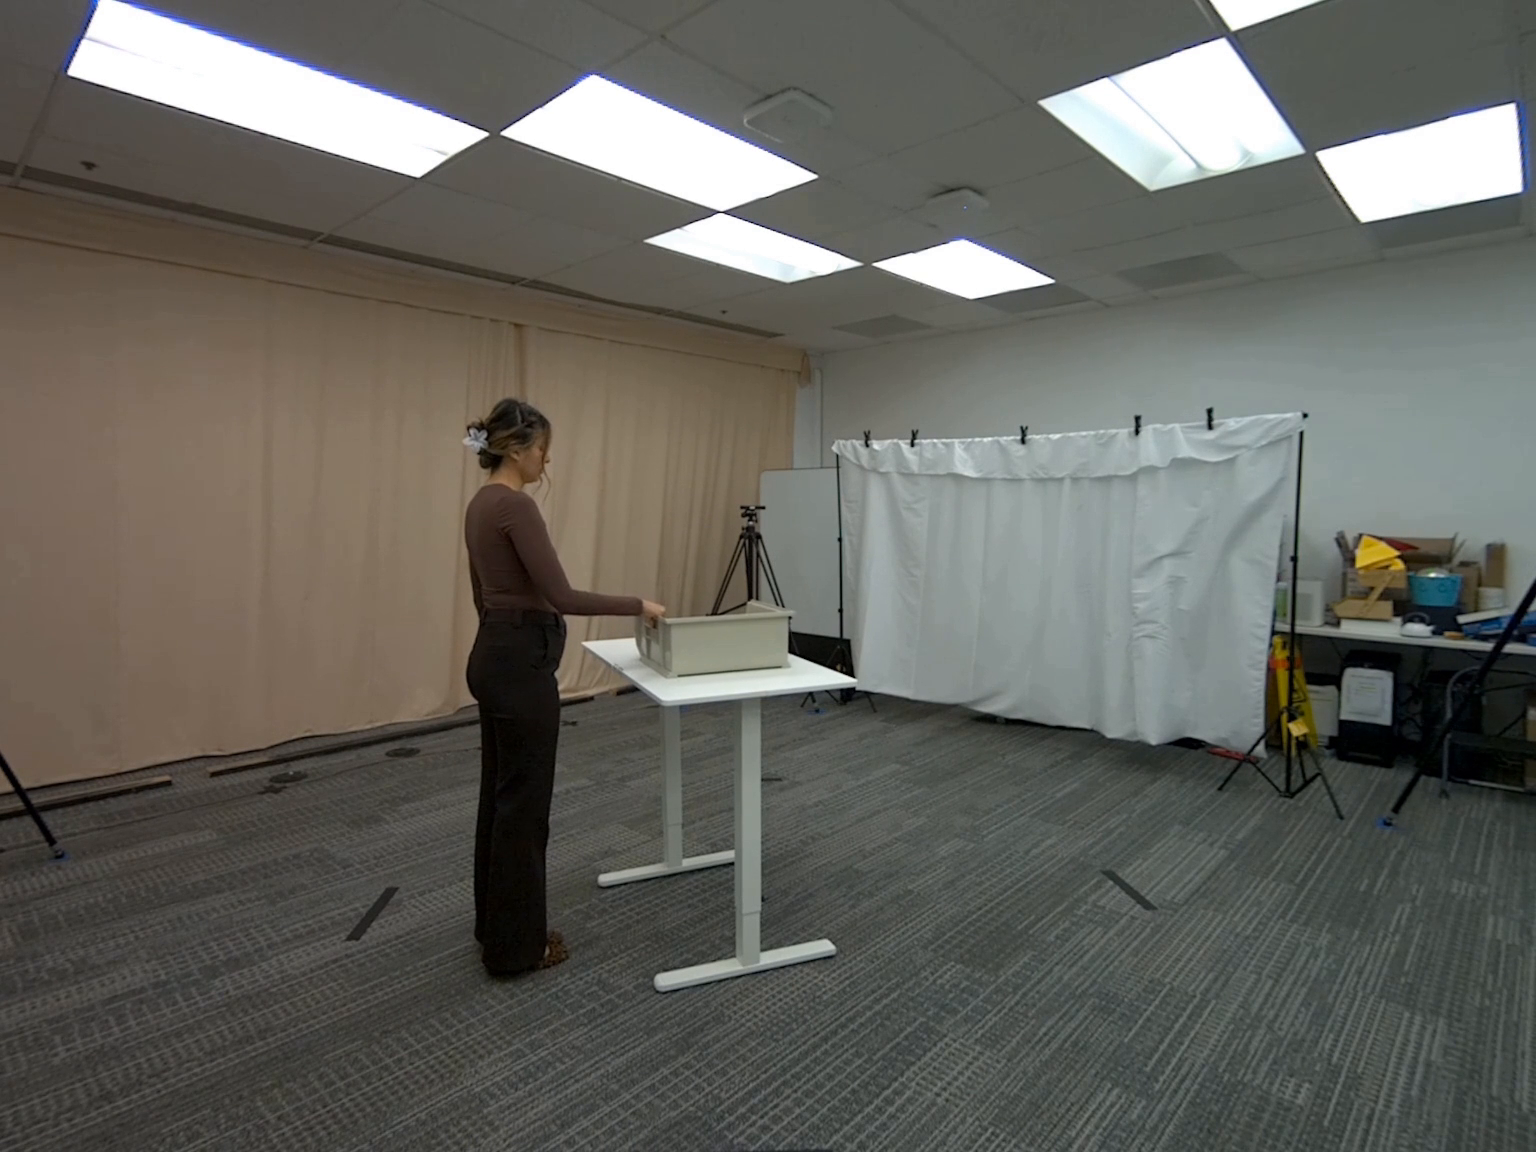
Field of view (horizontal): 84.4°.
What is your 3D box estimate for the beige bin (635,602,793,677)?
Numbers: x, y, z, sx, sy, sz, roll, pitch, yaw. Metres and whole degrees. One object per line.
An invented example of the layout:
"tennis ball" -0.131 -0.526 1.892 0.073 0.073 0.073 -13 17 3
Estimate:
"beige bin" -0.188 0.196 2.735 0.413 0.188 0.387 -2 5 -23
